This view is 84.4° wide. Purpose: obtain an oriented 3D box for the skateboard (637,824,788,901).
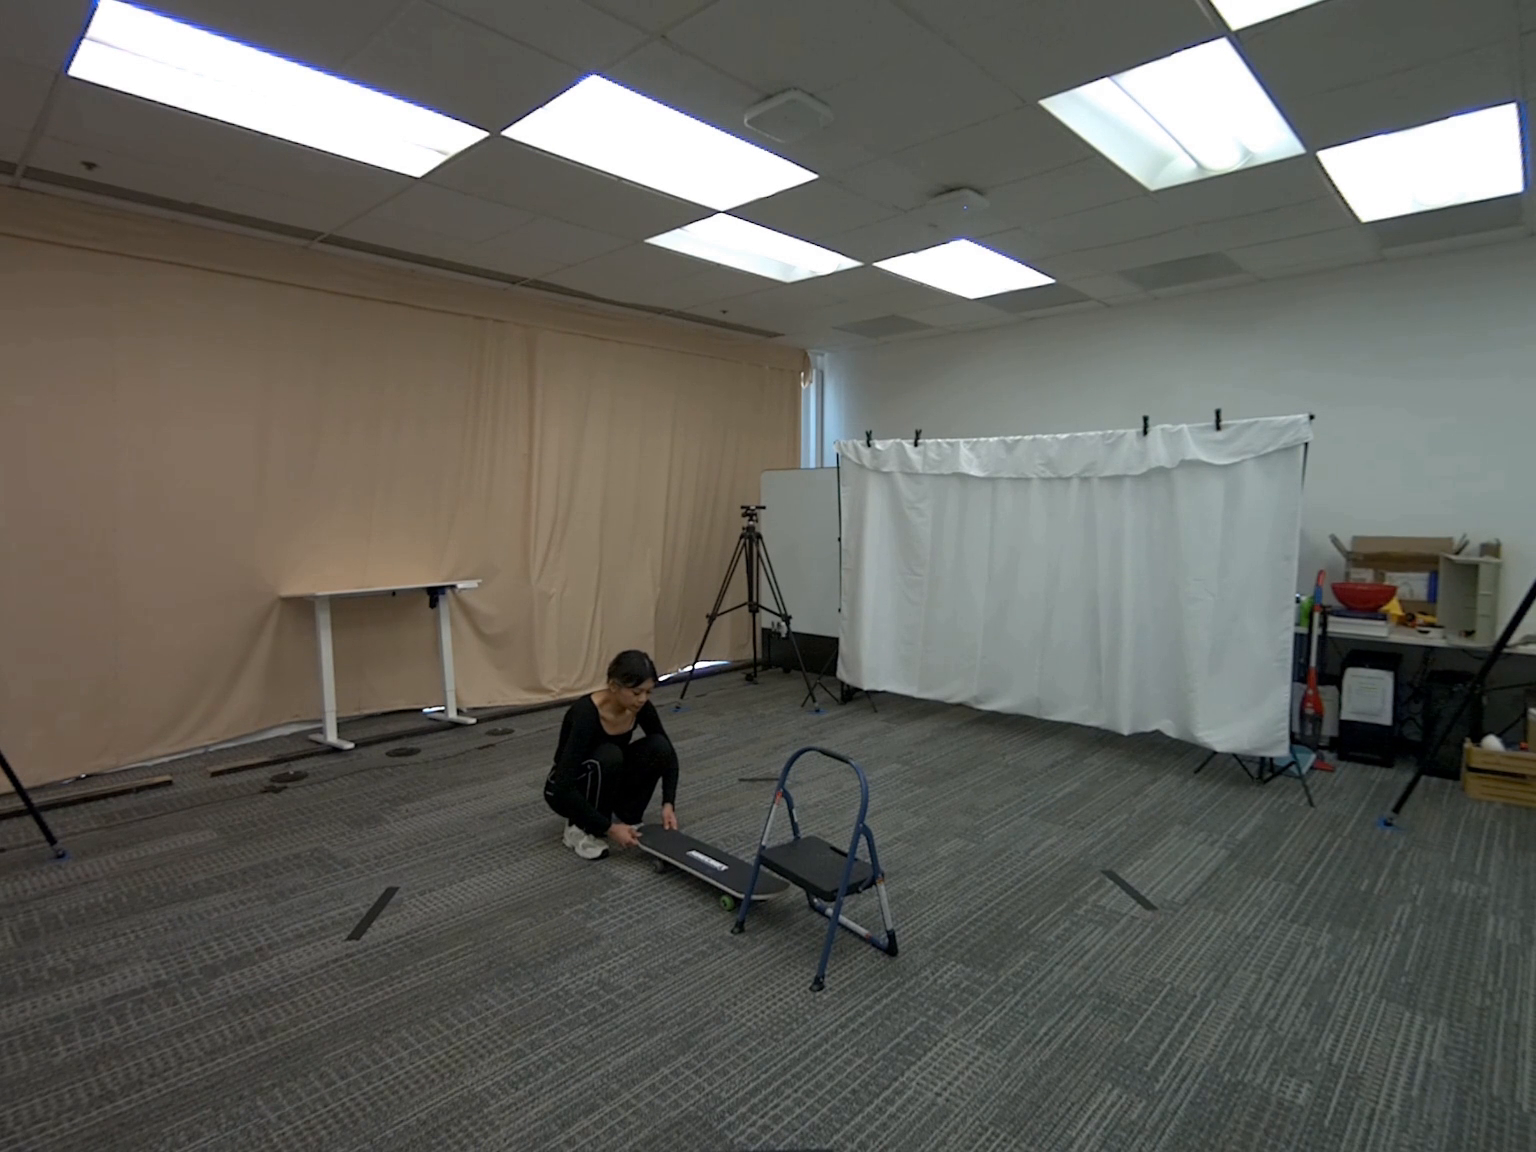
[{"bbox_3d":[-0.218,1.079,3.100,0.187,0.110,0.811,-4,5,-42],"label":"skateboard"}]
